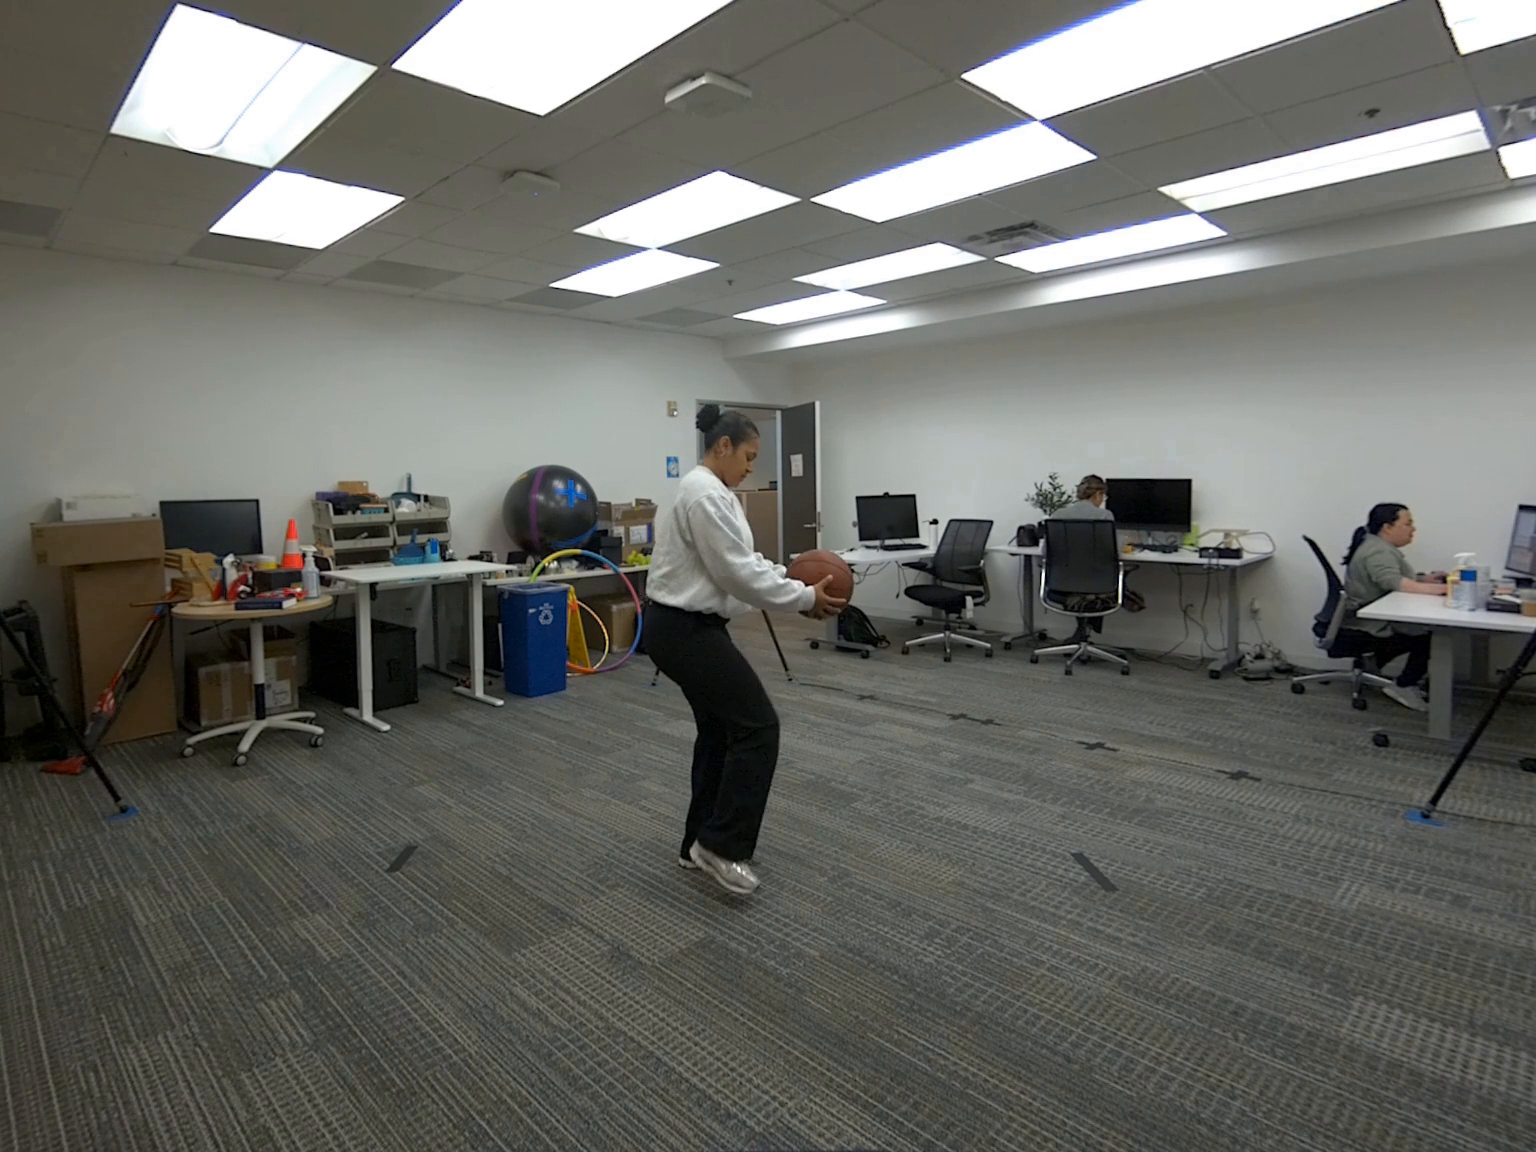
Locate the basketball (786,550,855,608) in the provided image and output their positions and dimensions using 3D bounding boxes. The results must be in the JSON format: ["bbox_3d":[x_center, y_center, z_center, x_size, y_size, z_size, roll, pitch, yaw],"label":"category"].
[{"bbox_3d":[0.170,0.013,2.915,0.236,0.235,0.237,-1,5,-2],"label":"basketball"}]
